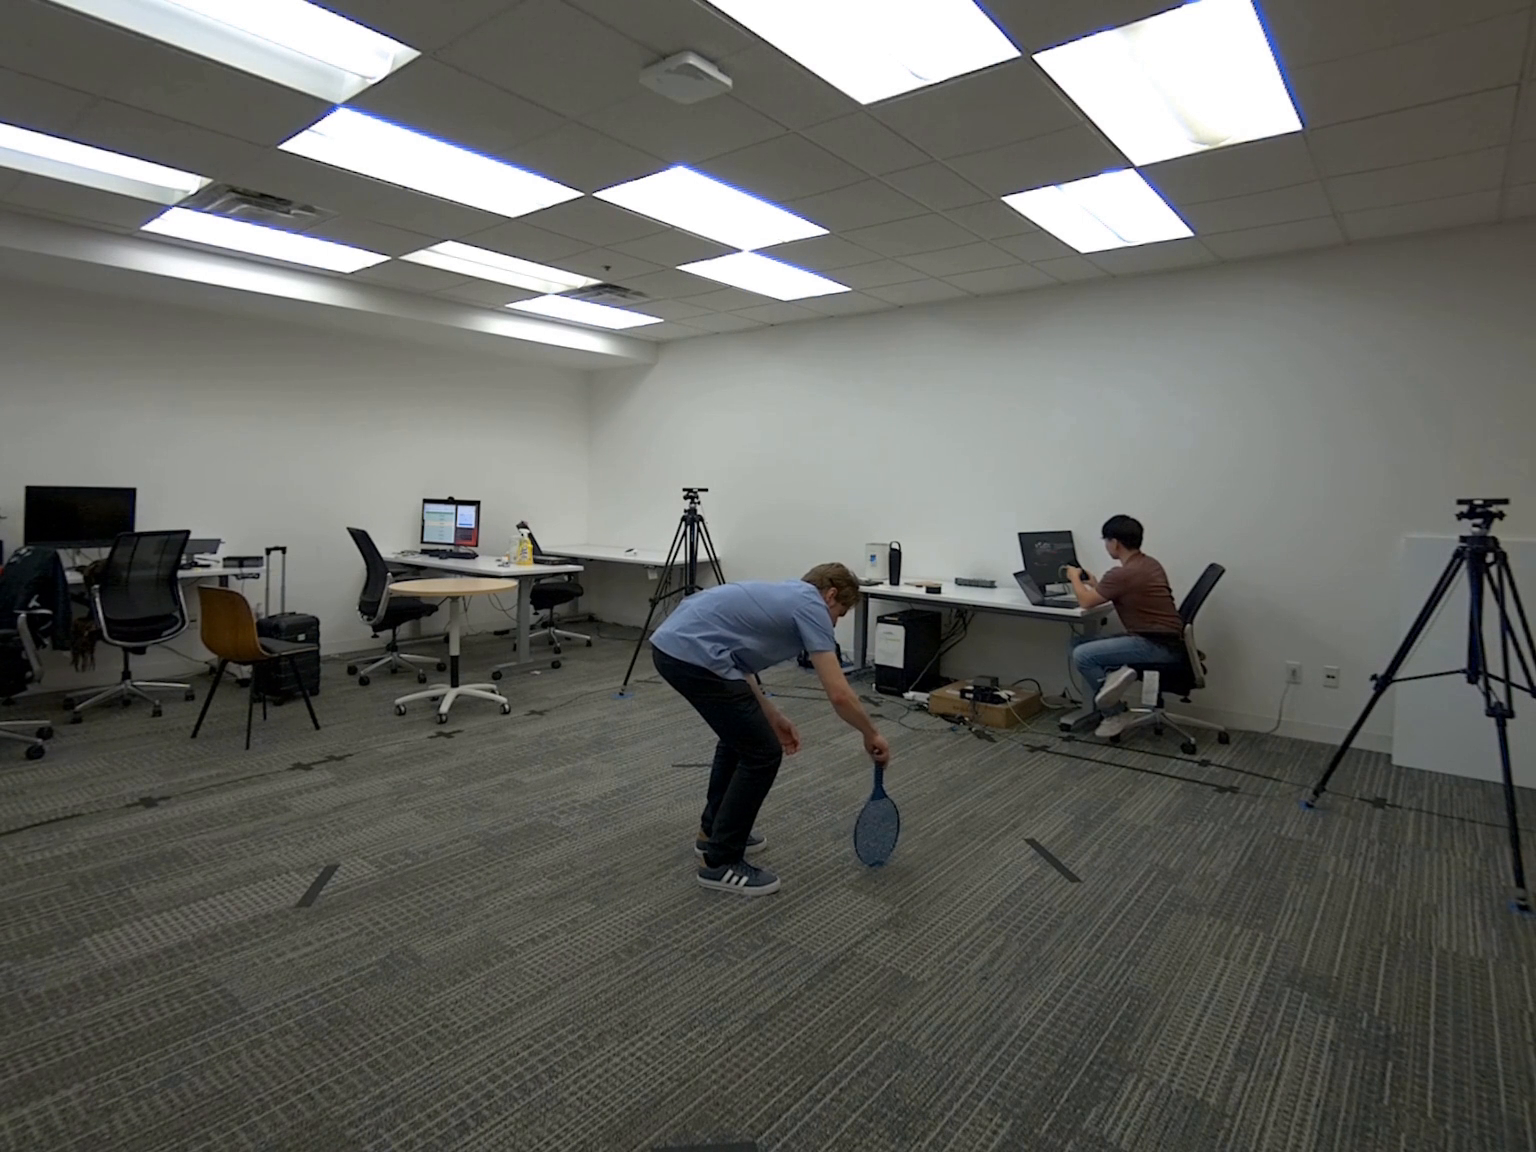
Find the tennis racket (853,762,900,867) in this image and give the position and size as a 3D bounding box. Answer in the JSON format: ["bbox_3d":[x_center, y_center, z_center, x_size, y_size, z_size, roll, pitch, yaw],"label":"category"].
[{"bbox_3d":[0.392,0.861,3.152,0.209,0.429,0.033,-6,10,-28],"label":"tennis racket"}]
